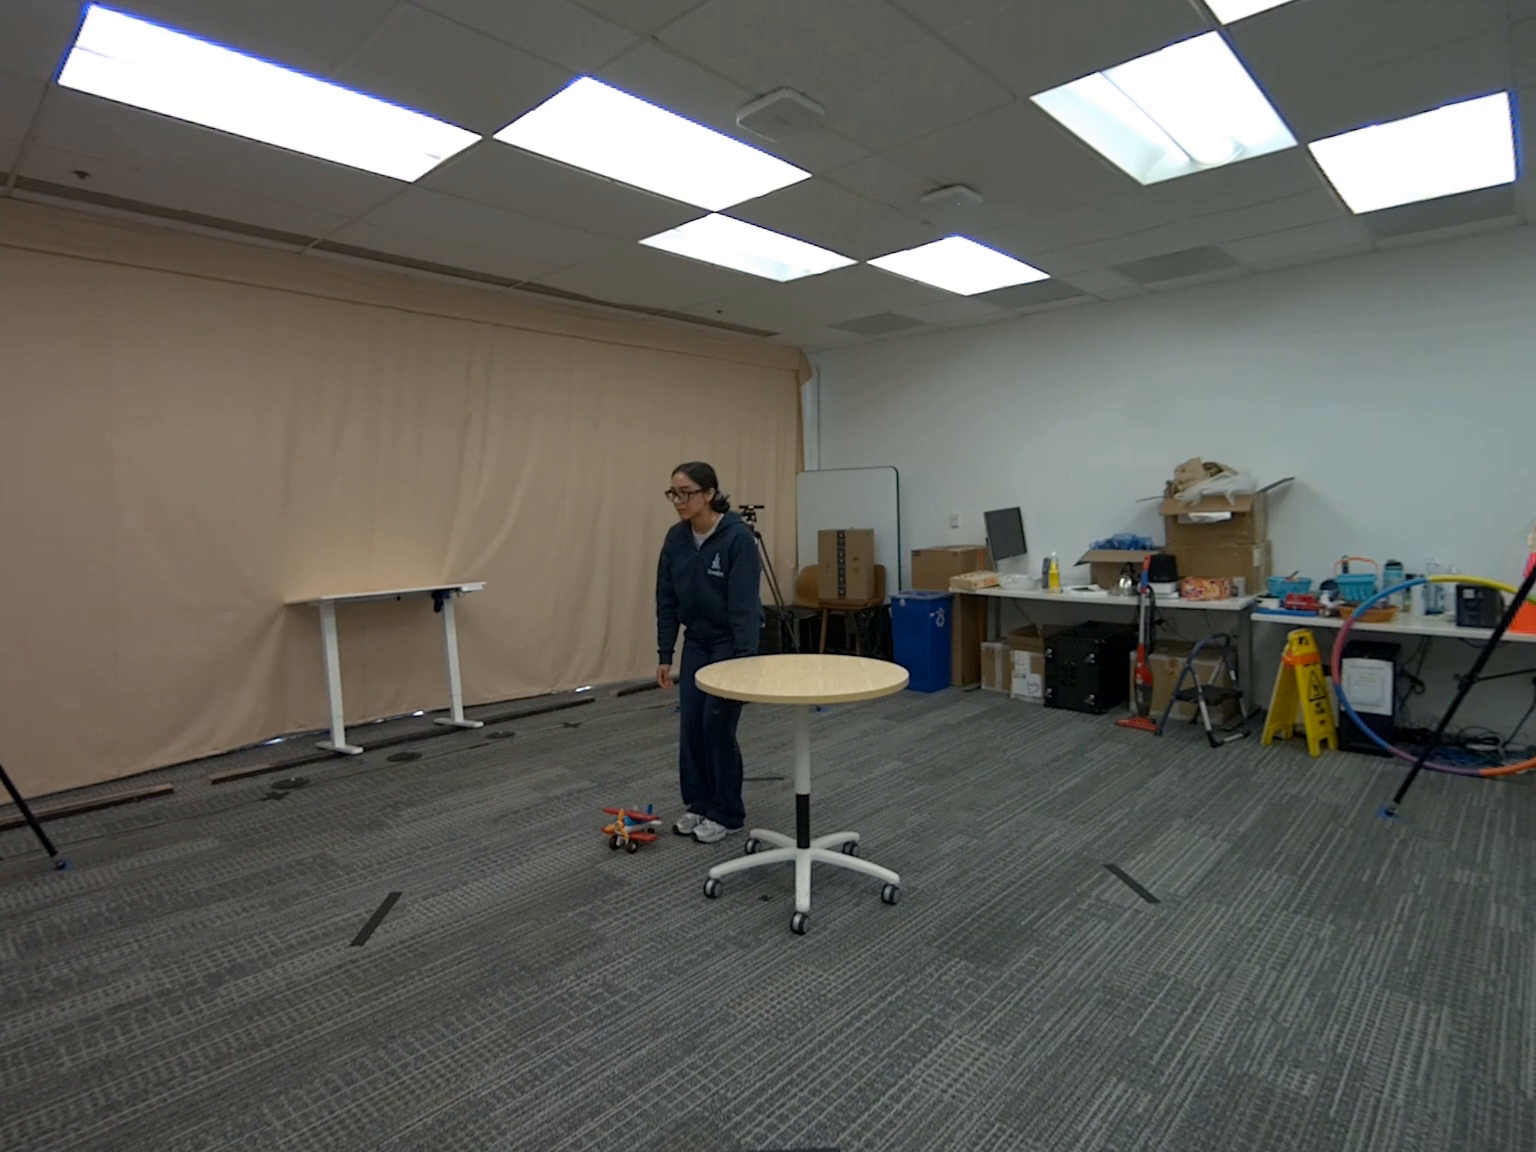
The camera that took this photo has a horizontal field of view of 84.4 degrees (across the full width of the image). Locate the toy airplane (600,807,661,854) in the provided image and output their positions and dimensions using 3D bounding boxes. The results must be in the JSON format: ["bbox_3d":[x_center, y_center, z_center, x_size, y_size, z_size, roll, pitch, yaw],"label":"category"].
[{"bbox_3d":[-0.569,1.035,3.500,0.251,0.156,0.260,-1,6,-1],"label":"toy airplane"}]
